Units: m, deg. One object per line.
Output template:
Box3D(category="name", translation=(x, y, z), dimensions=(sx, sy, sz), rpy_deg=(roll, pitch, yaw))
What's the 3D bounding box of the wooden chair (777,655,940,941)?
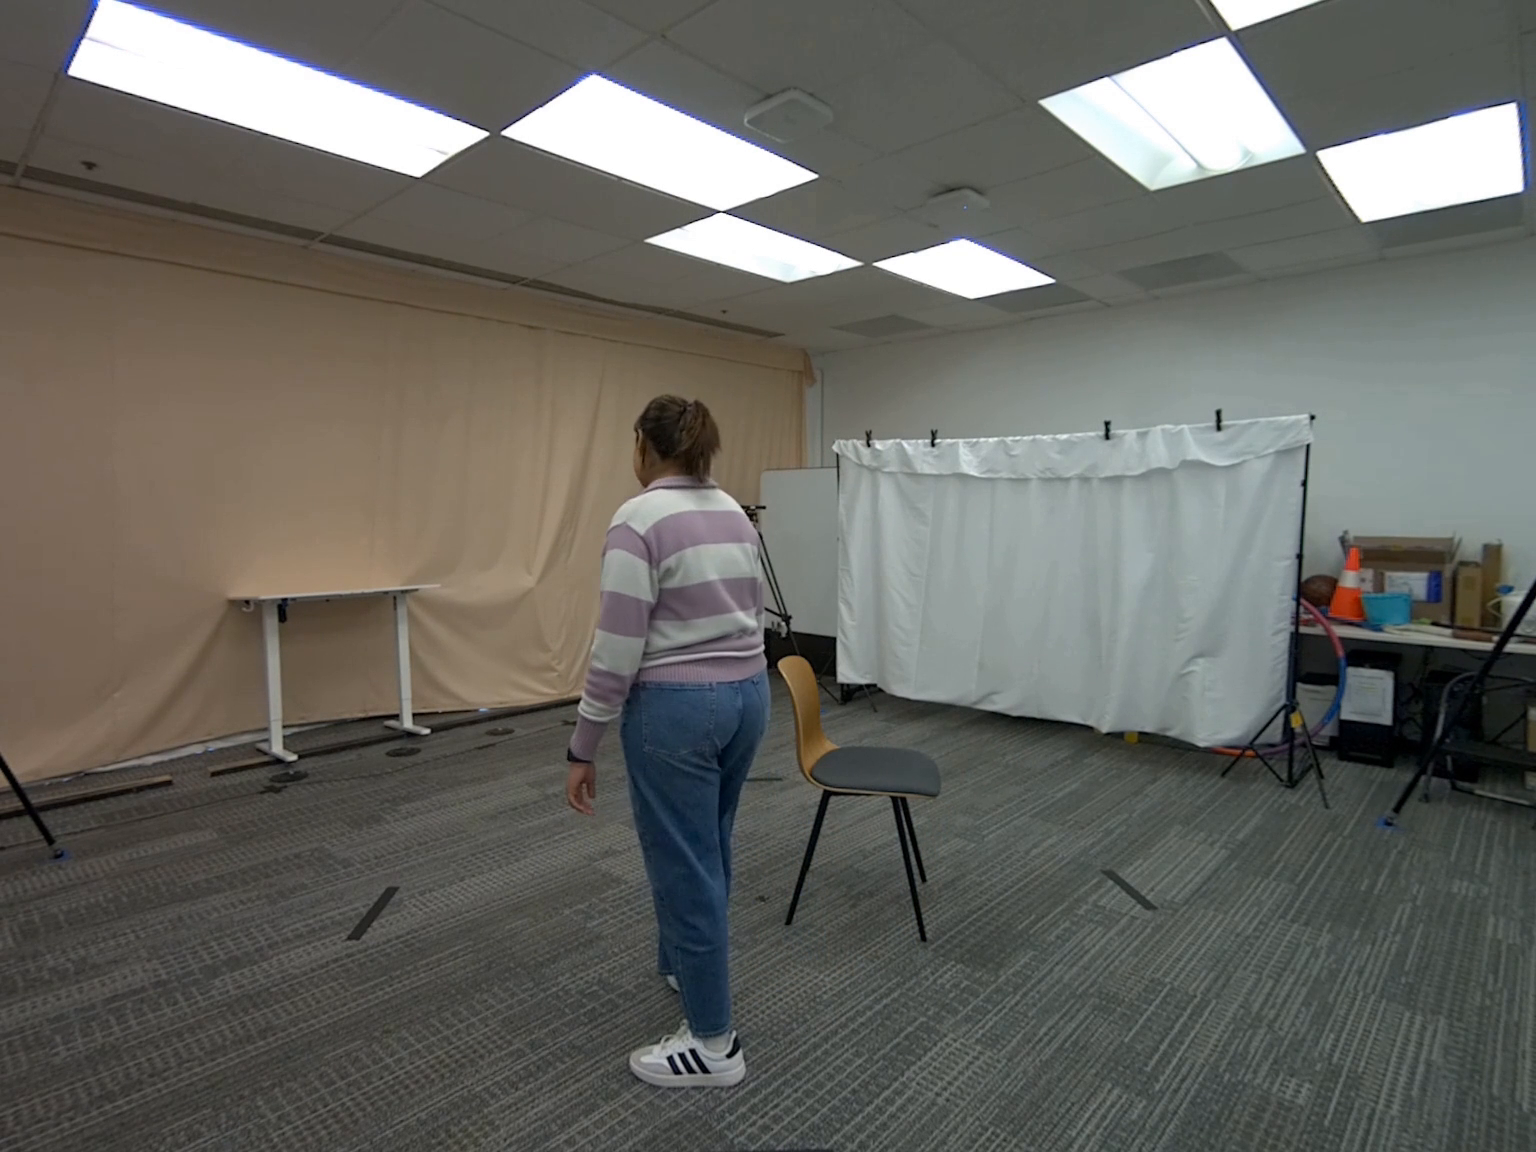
Box3D(category="wooden chair", translation=(0.334, 0.721, 2.919), dimensions=(0.531, 0.876, 0.472), rpy_deg=(-3, 2, 13))
